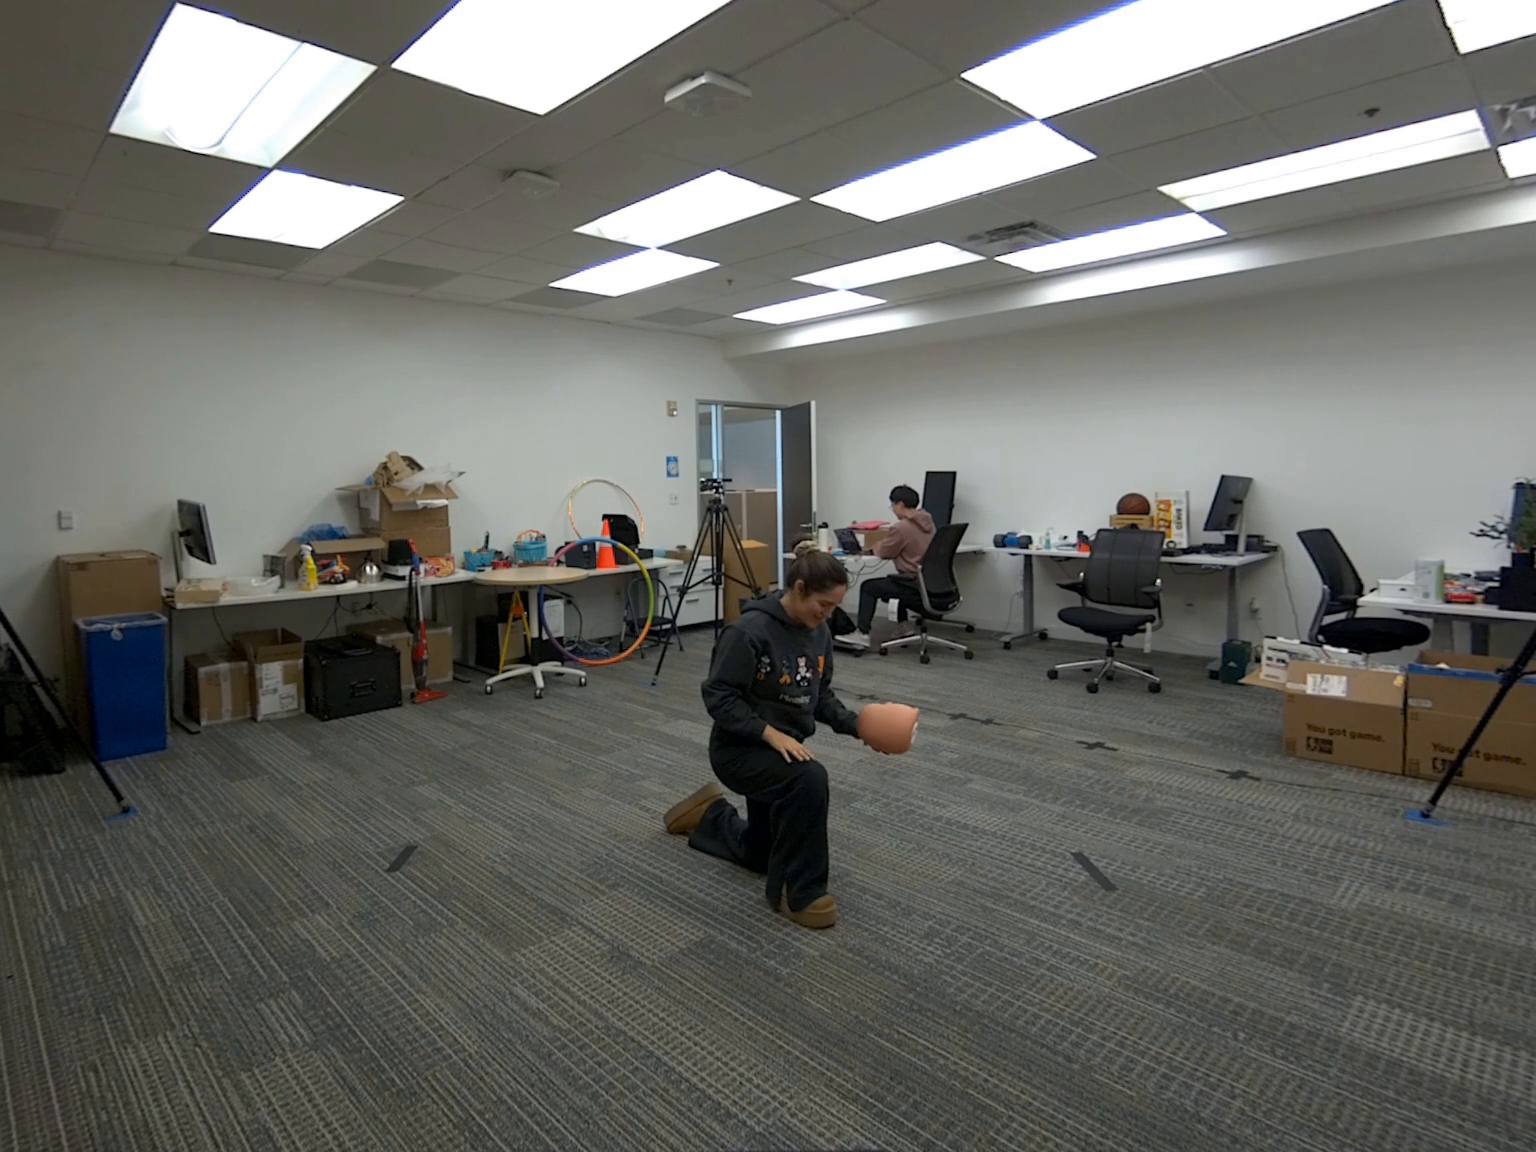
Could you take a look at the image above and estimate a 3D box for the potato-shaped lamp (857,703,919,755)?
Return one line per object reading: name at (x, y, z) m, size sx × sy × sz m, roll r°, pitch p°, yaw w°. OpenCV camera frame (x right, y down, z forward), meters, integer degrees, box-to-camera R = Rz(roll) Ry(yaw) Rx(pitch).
potato-shaped lamp at (0.392, 0.512, 2.876) m, size 0.203 × 0.160 × 0.172 m, roll 16°, pitch 47°, yaw 23°
